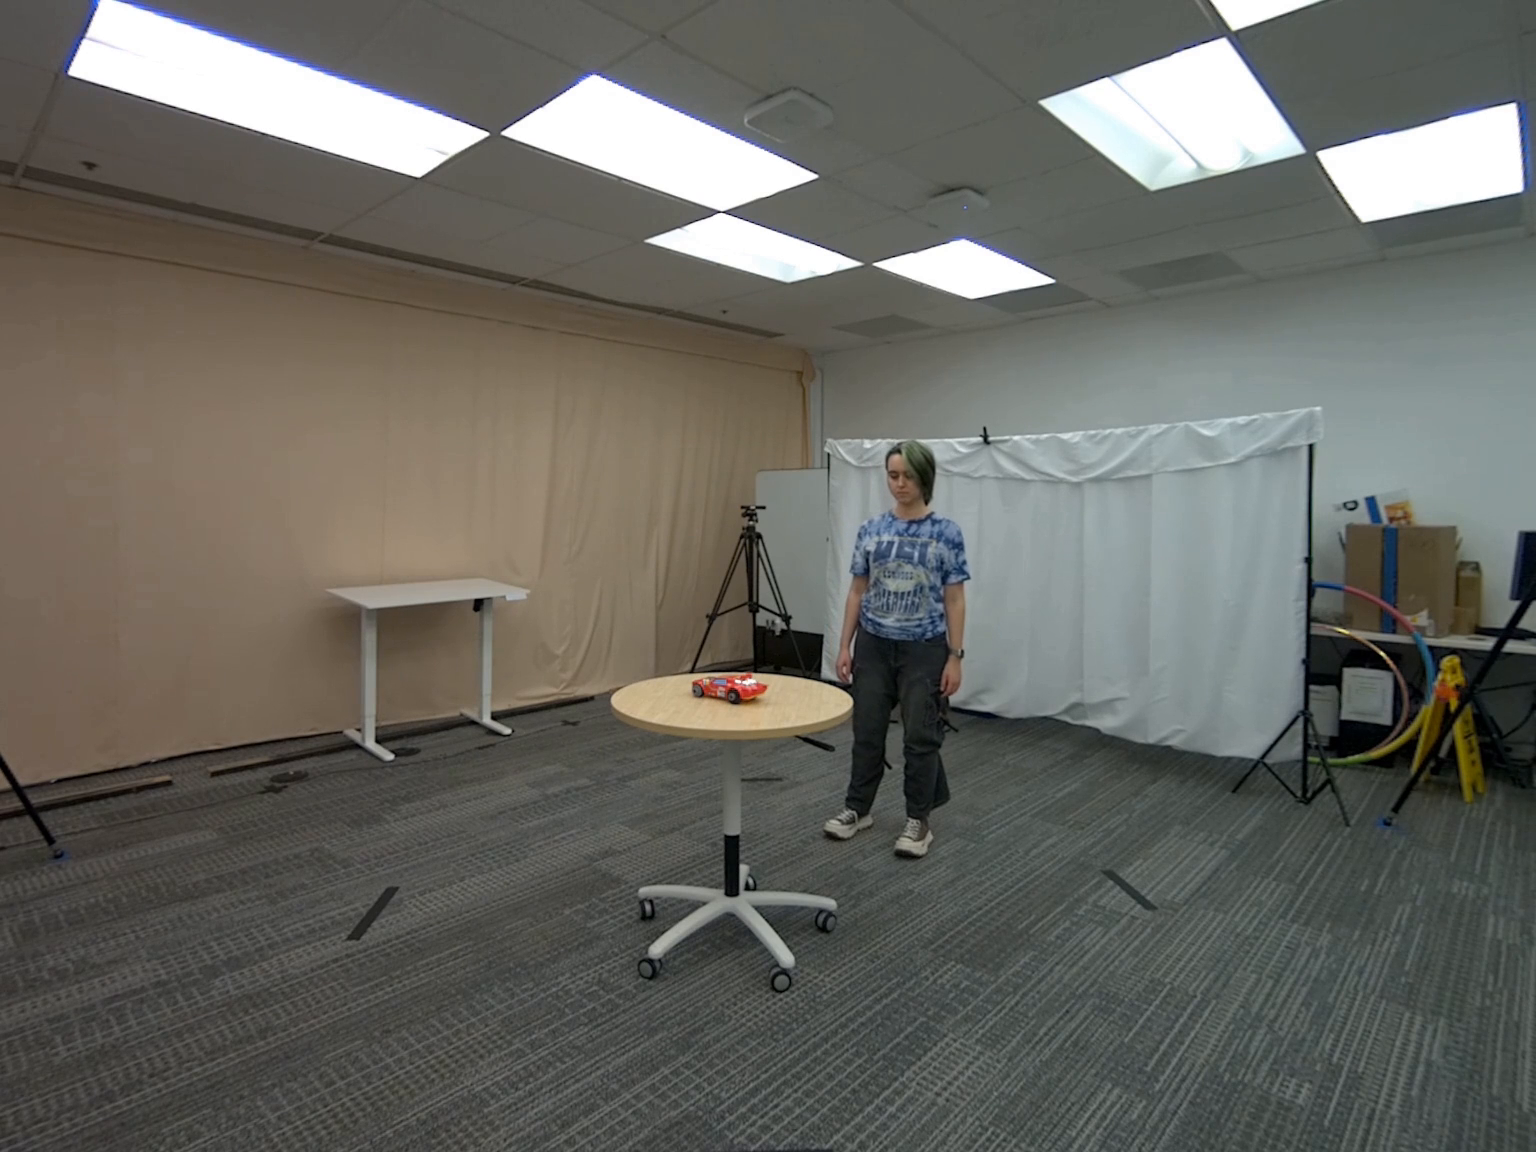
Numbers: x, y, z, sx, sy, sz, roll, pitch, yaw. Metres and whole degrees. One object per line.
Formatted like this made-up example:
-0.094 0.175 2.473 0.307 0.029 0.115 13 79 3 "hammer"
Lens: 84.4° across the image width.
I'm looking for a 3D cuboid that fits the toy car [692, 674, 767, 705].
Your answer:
-0.115 0.357 2.654 0.261 0.083 0.126 -9 -2 37 "toy car"
